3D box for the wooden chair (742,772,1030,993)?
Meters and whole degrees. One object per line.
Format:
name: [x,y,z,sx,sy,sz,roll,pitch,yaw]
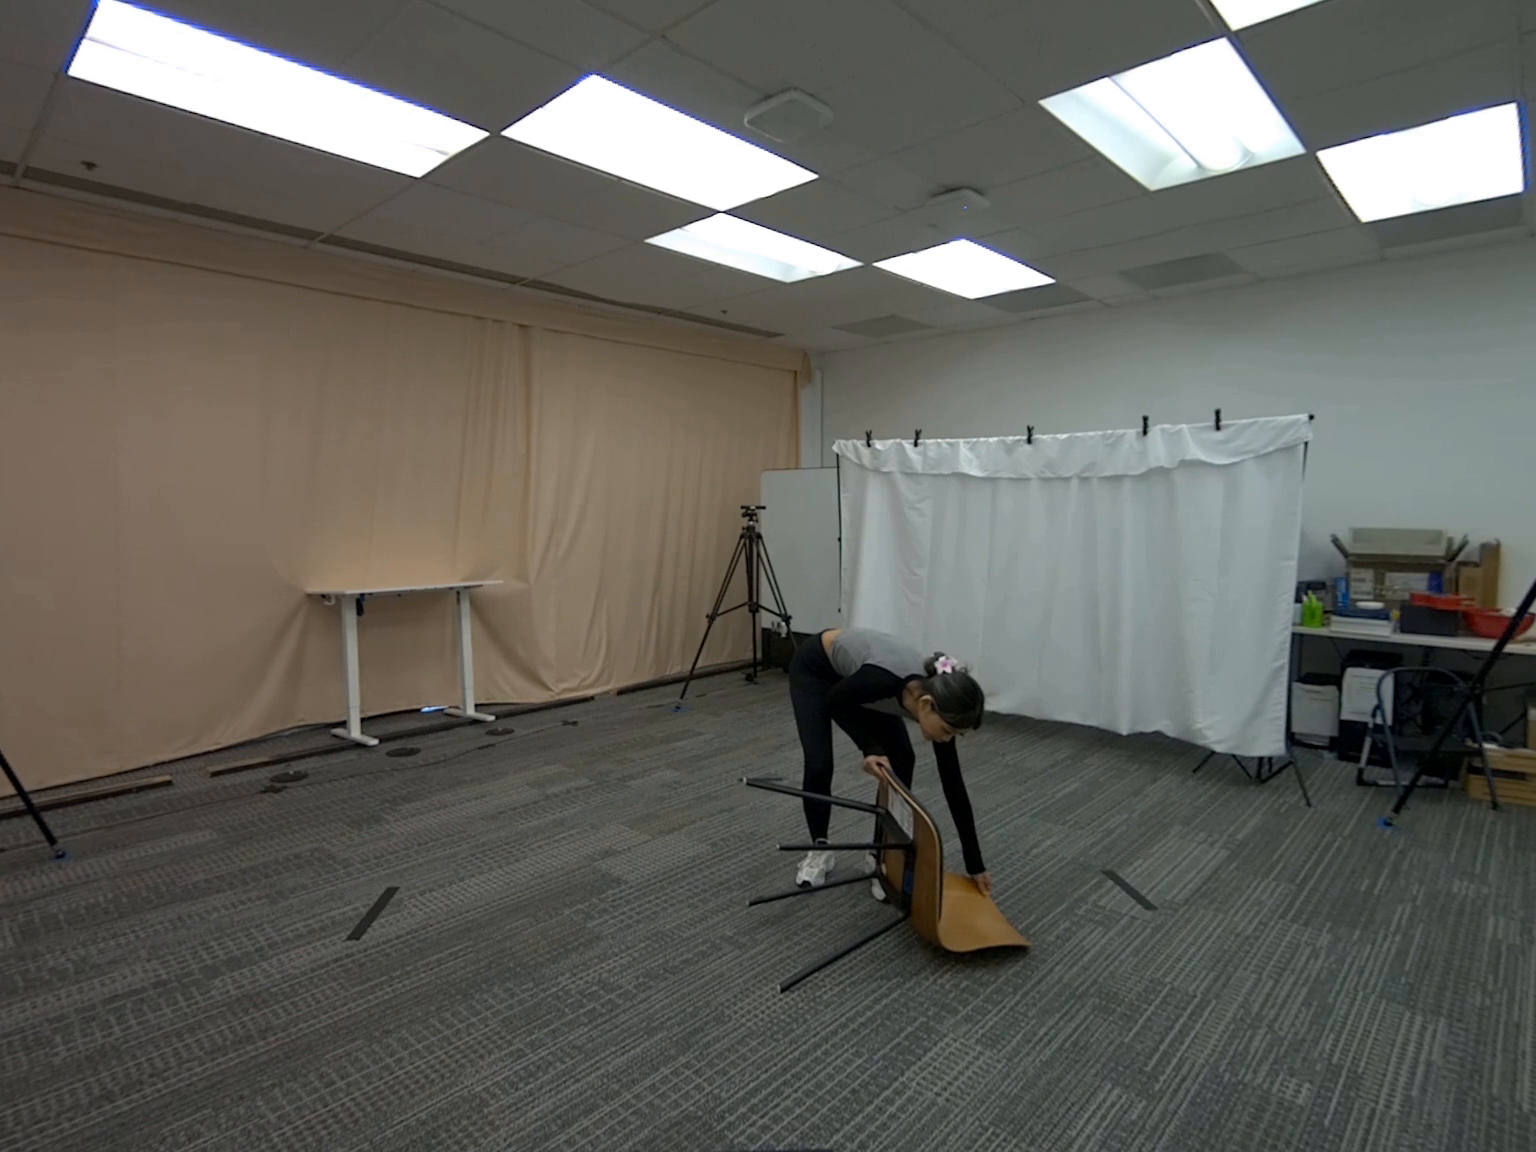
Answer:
wooden chair: [0.398,0.899,2.652,0.868,0.520,0.486,2,9,-10]
